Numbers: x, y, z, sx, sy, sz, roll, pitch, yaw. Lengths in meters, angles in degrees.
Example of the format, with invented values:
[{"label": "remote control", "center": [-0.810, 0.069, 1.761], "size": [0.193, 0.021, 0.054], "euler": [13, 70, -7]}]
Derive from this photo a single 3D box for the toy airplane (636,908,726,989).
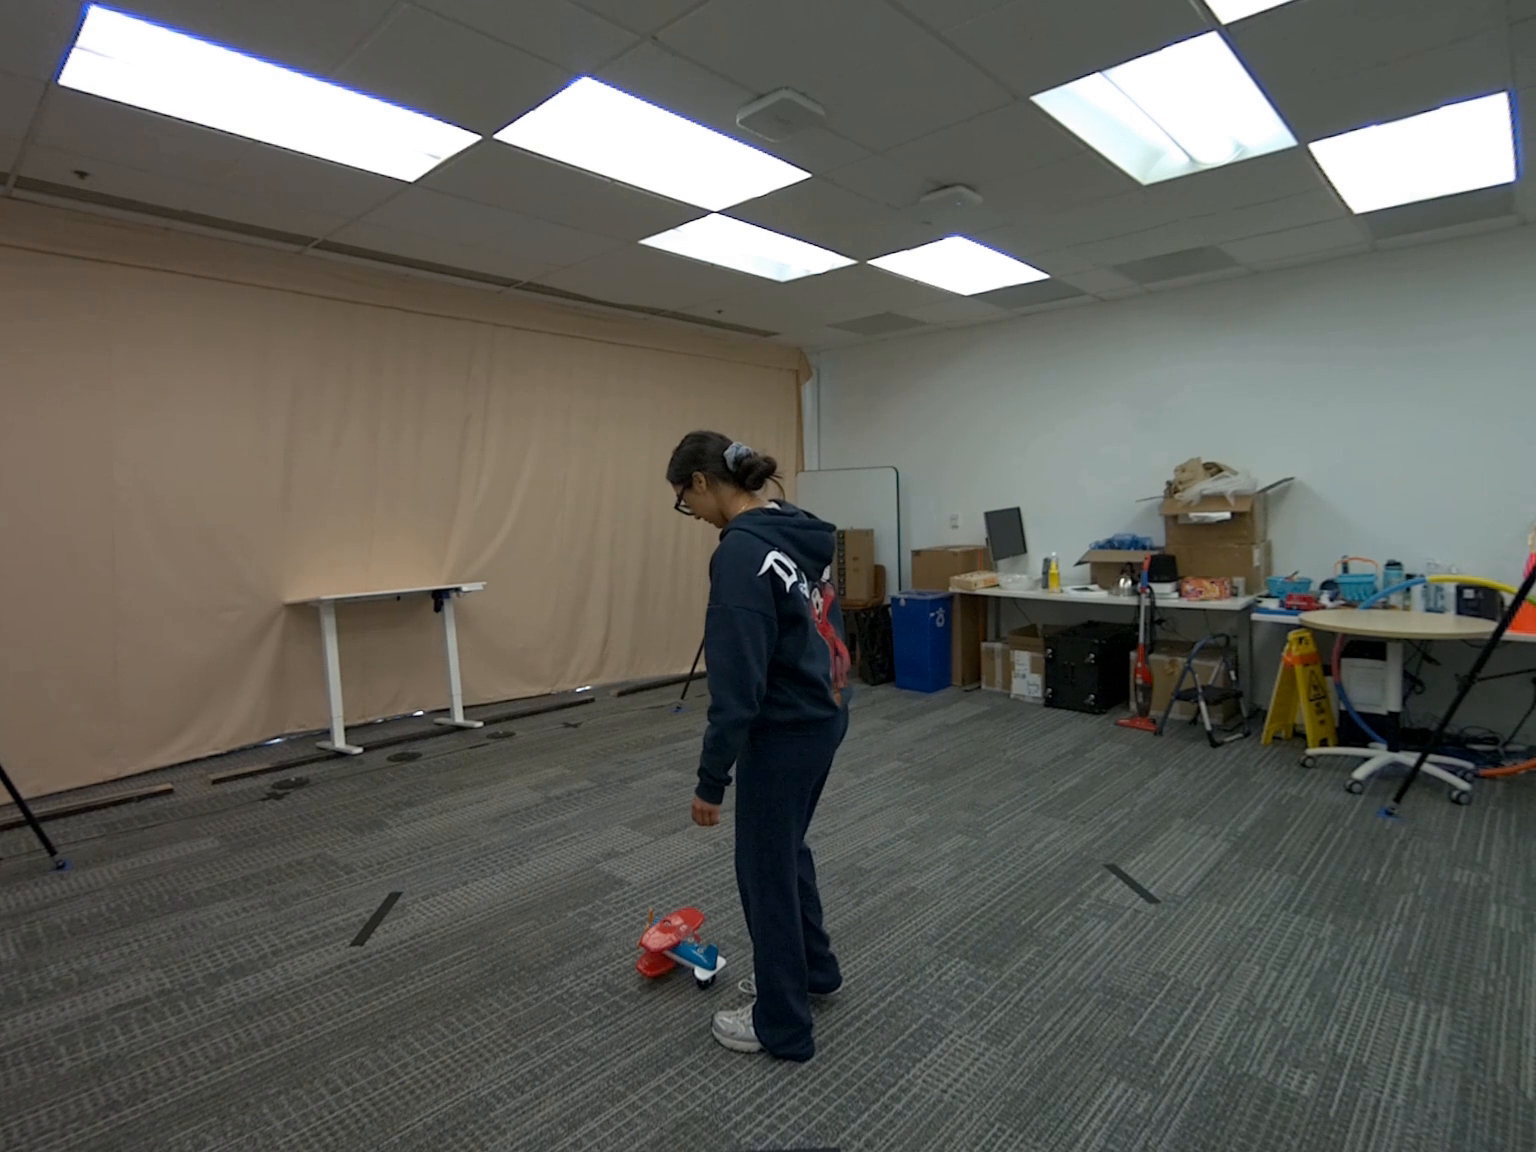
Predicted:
[{"label": "toy airplane", "center": [-0.248, 1.114, 2.509], "size": [0.260, 0.156, 0.251], "euler": [-2, 6, 4]}]
